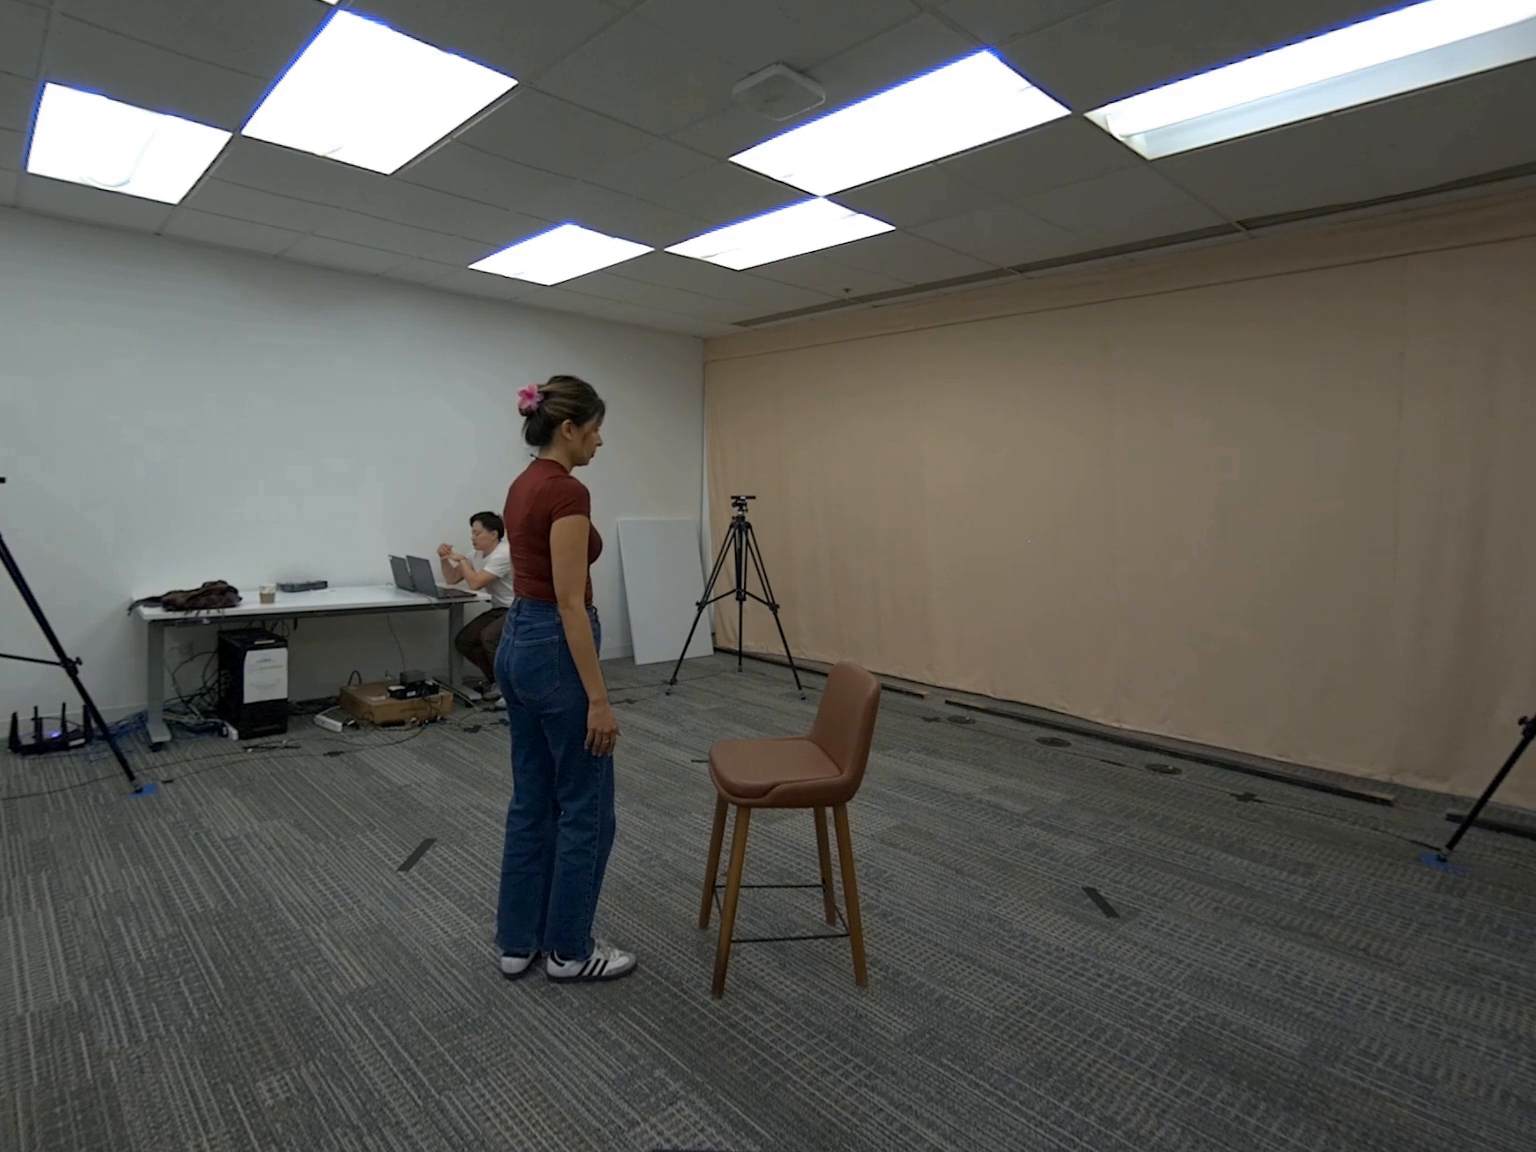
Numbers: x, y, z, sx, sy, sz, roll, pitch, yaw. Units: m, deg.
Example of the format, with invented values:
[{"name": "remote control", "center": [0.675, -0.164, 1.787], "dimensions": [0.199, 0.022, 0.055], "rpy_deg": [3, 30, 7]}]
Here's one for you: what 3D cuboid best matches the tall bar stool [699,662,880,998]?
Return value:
[{"name": "tall bar stool", "center": [0.041, 0.726, 2.537], "dimensions": [0.464, 0.888, 0.461], "rpy_deg": [2, 3, -10]}]
